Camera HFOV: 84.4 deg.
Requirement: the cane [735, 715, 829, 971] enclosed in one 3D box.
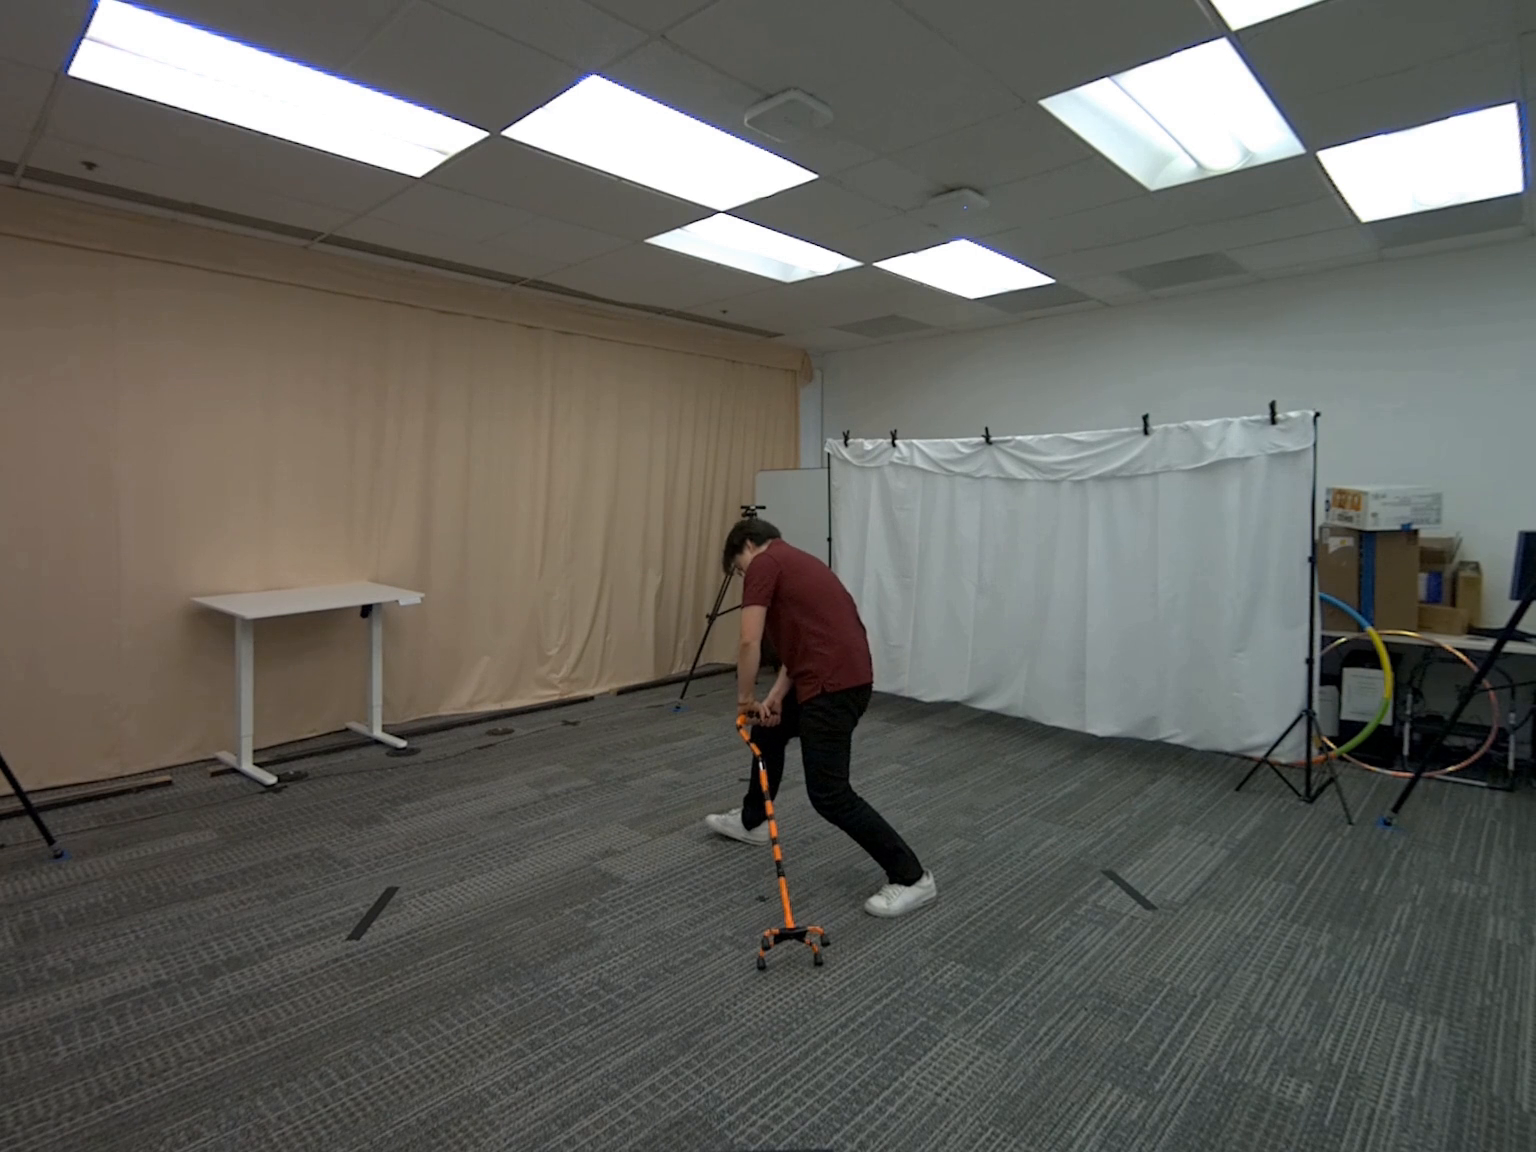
[{"bbox_3d":[0.016,0.820,2.838,0.204,0.149,0.930,-1,40,-10],"label":"cane"}]
